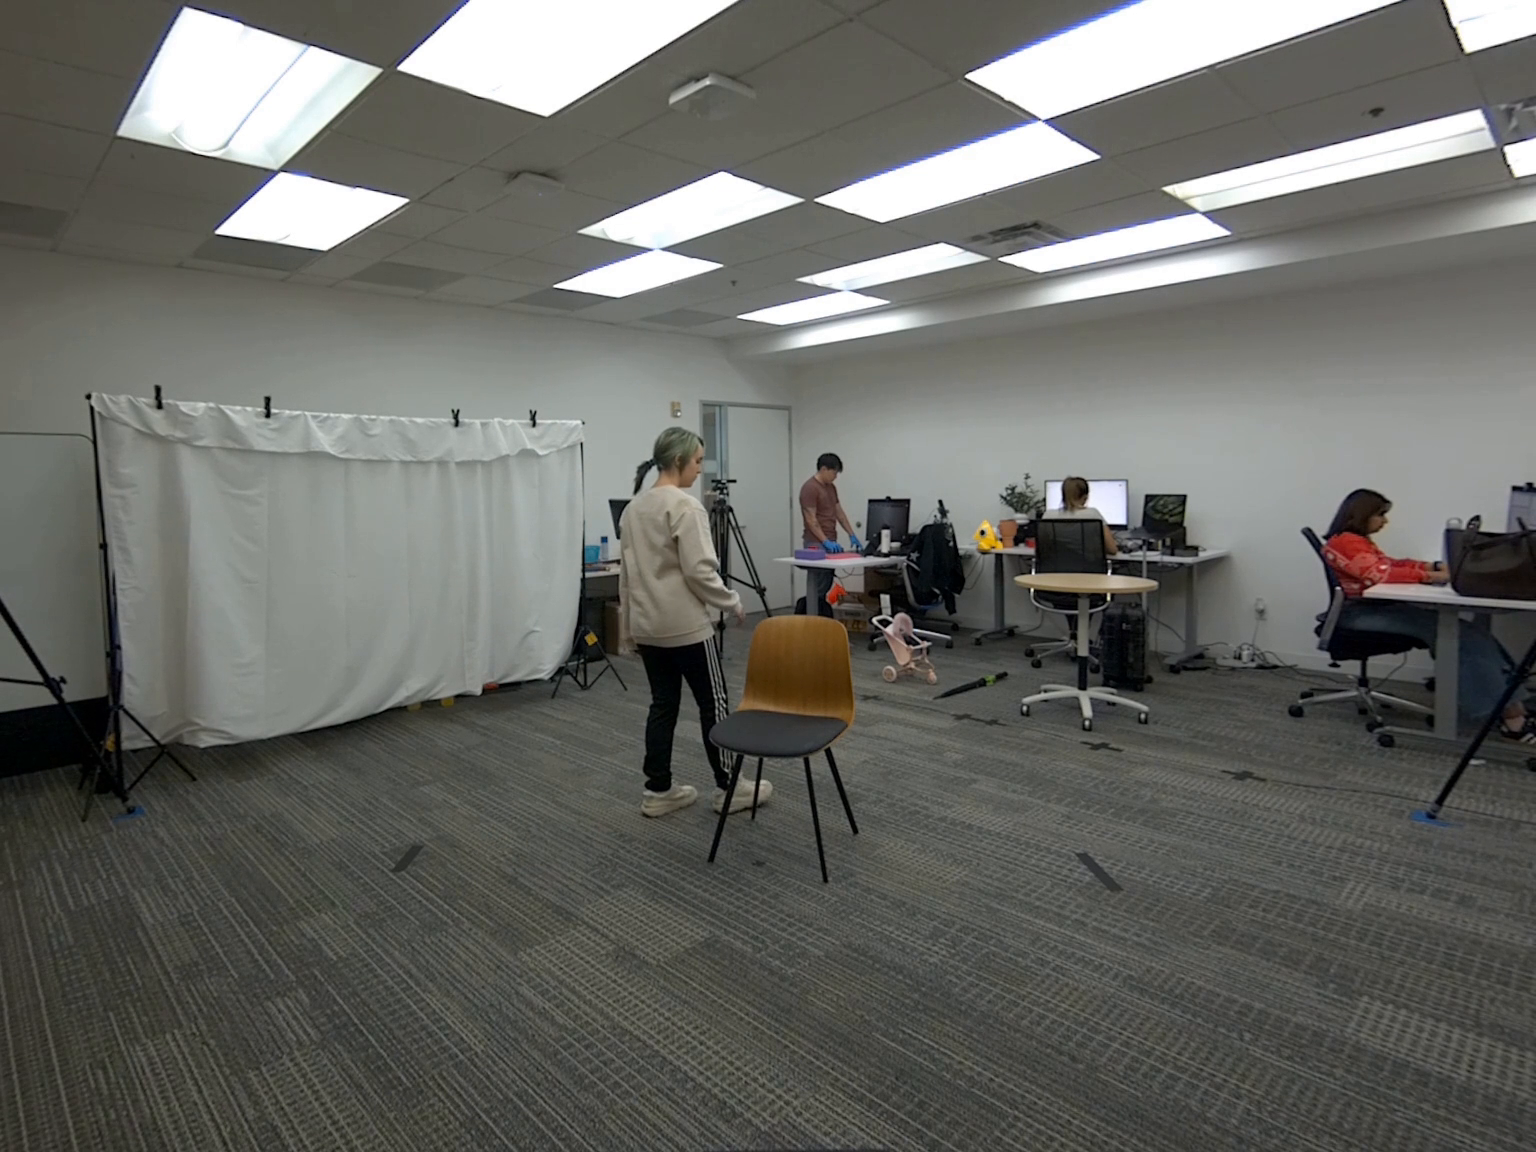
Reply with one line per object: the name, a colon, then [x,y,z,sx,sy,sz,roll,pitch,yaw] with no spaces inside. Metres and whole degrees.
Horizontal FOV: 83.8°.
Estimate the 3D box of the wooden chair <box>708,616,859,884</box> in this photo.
wooden chair: [0.062,0.607,3.196,0.488,0.877,0.512,0,0,22]
